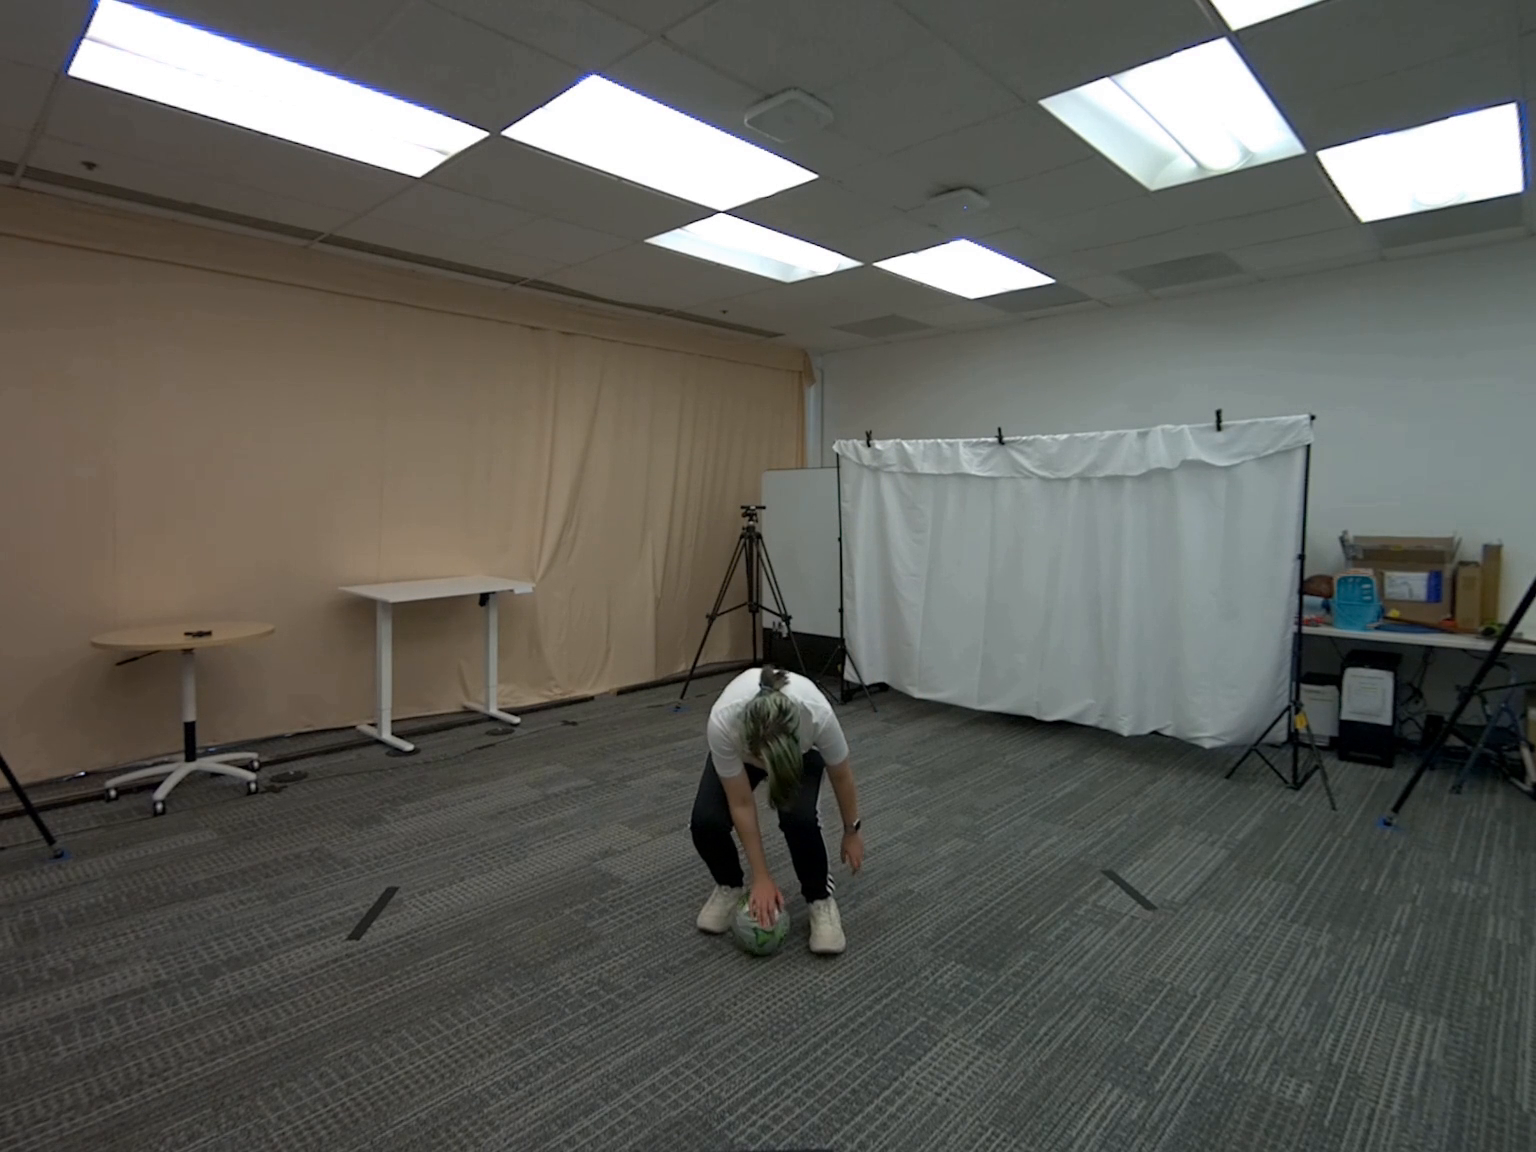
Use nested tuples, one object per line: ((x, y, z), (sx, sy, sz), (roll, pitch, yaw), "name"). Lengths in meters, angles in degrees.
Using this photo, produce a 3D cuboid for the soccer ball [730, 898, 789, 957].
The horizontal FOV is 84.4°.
((-0.019, 1.084, 2.630), (0.187, 0.187, 0.188), (0, 4, -2), "soccer ball")
